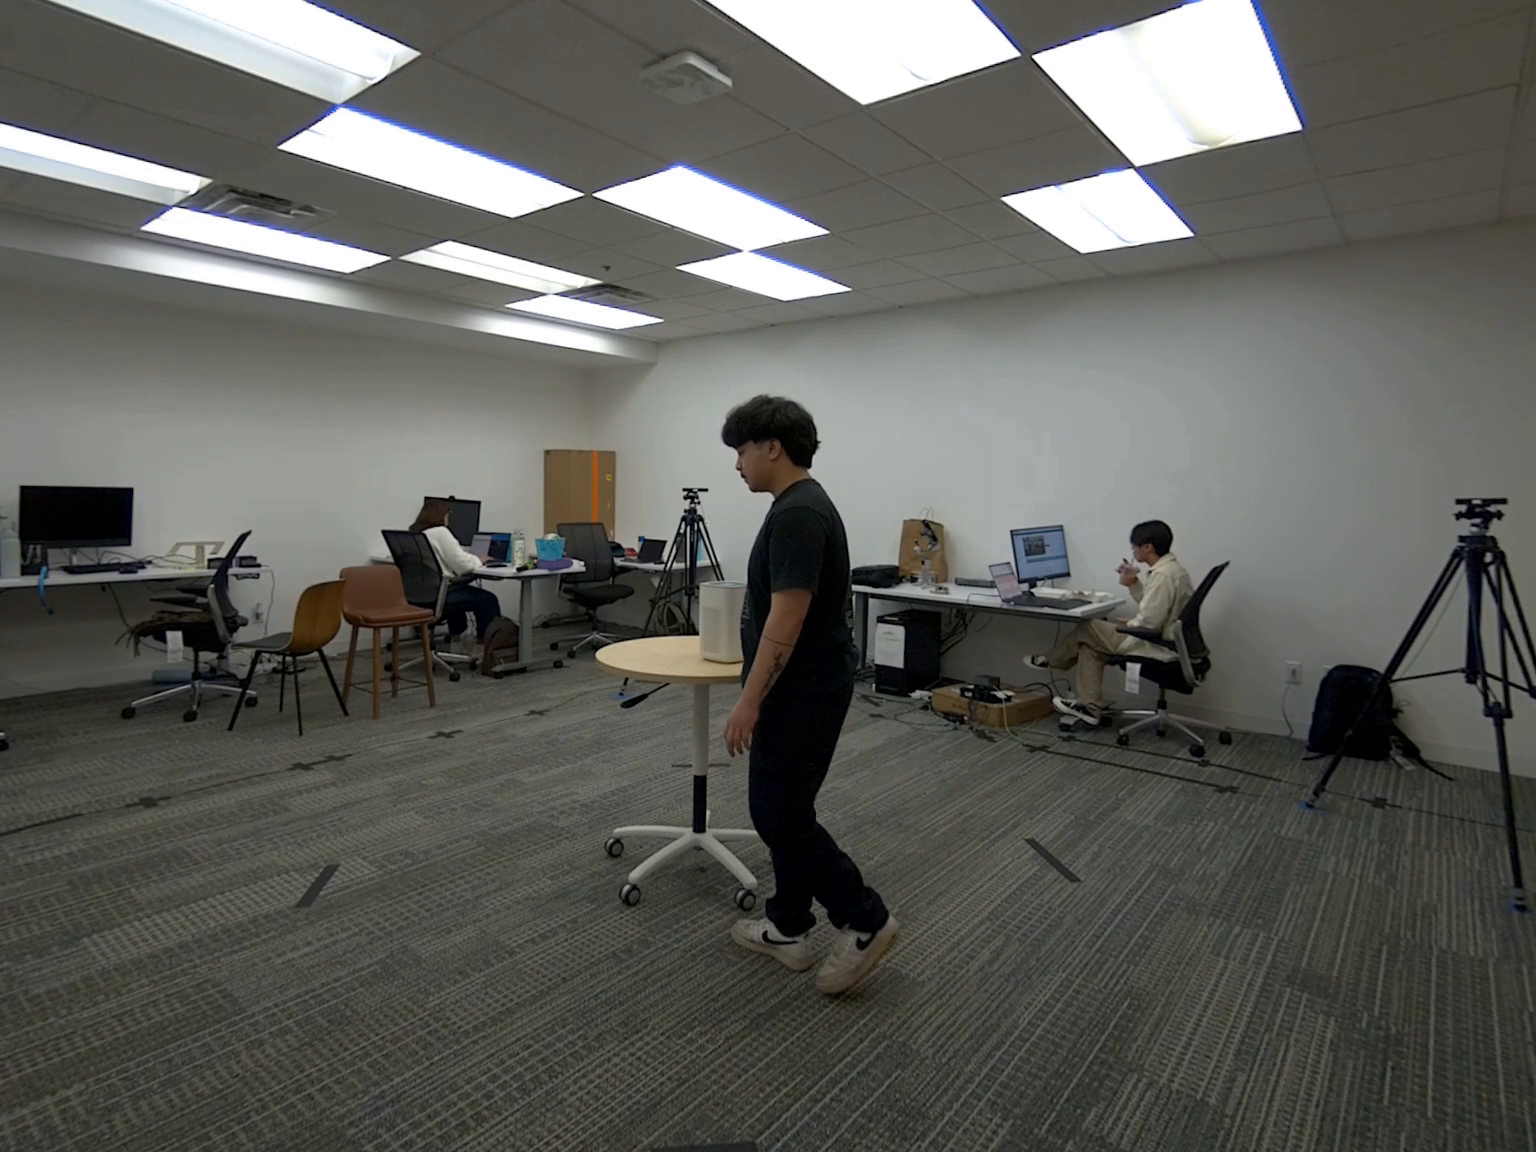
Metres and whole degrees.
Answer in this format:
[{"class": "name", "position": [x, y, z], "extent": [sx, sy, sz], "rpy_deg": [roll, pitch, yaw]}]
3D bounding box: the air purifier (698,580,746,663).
[{"class": "air purifier", "position": [-0.148, 0.154, 2.979], "extent": [0.177, 0.265, 0.166], "rpy_deg": [2, 2, 39]}]
